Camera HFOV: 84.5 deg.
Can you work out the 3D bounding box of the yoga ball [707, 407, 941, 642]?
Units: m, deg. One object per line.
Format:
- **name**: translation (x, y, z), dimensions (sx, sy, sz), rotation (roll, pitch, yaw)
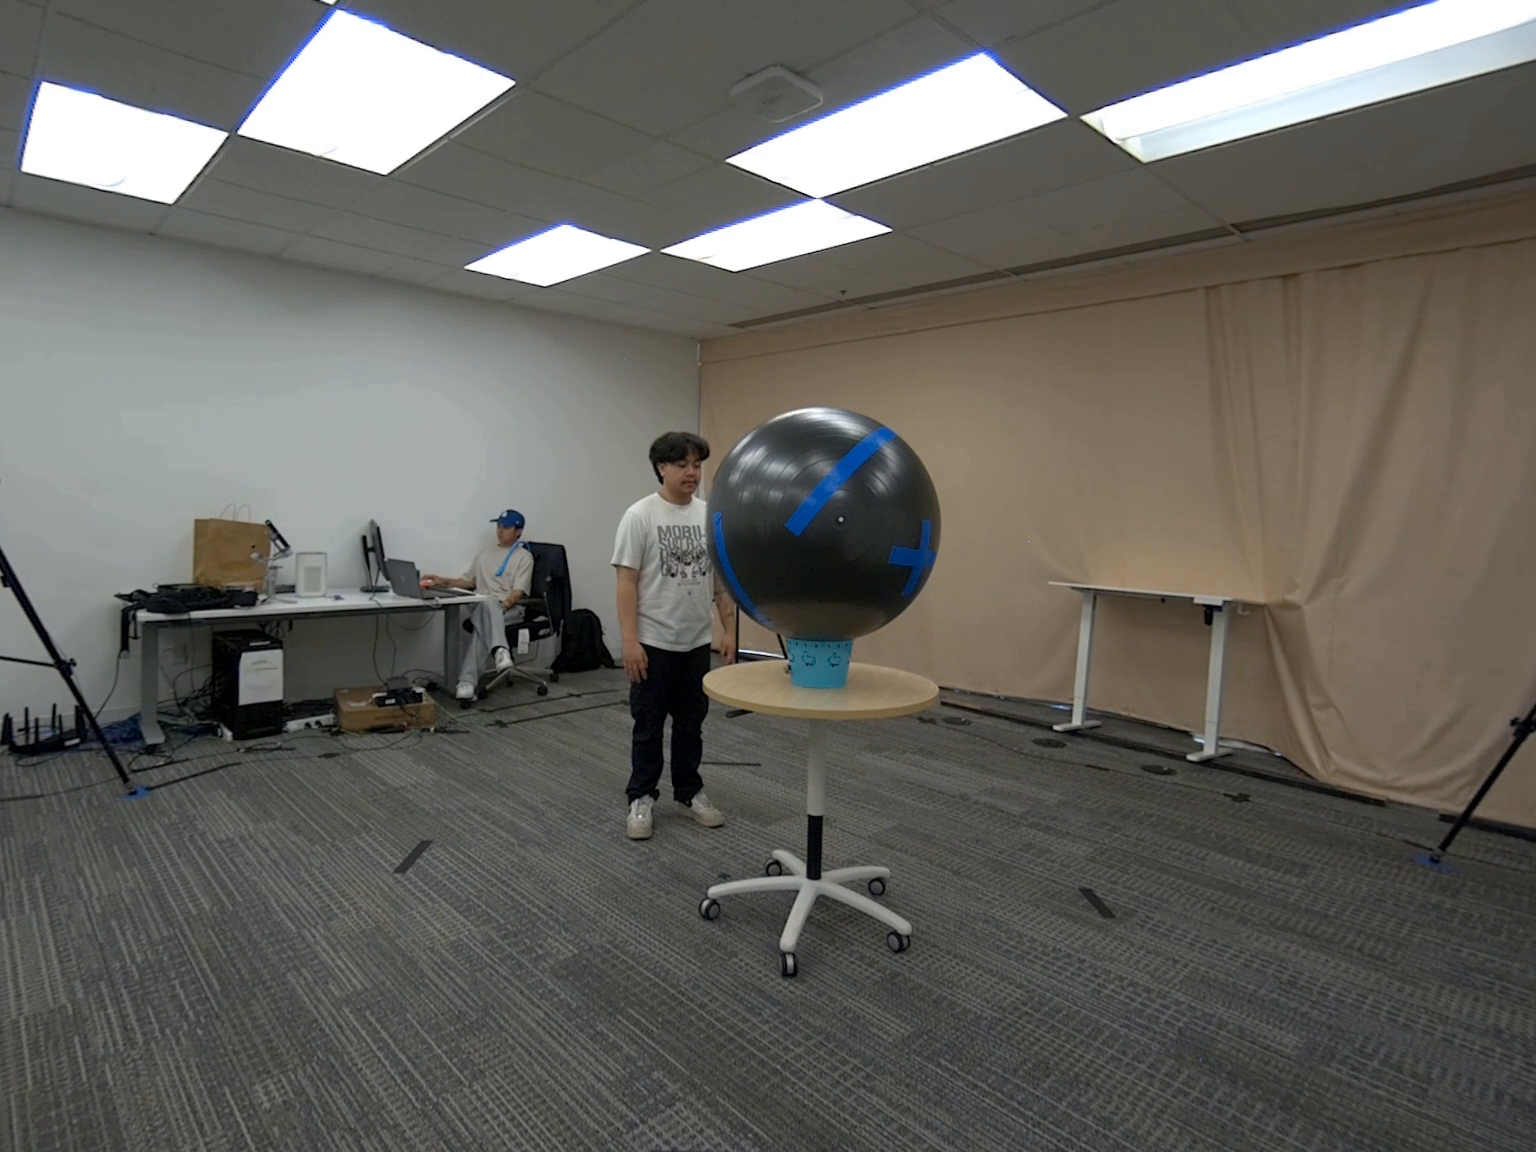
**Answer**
- **yoga ball**: translation (0.171, -0.159, 2.738), dimensions (0.757, 0.756, 0.761), rotation (1, 4, -1)
